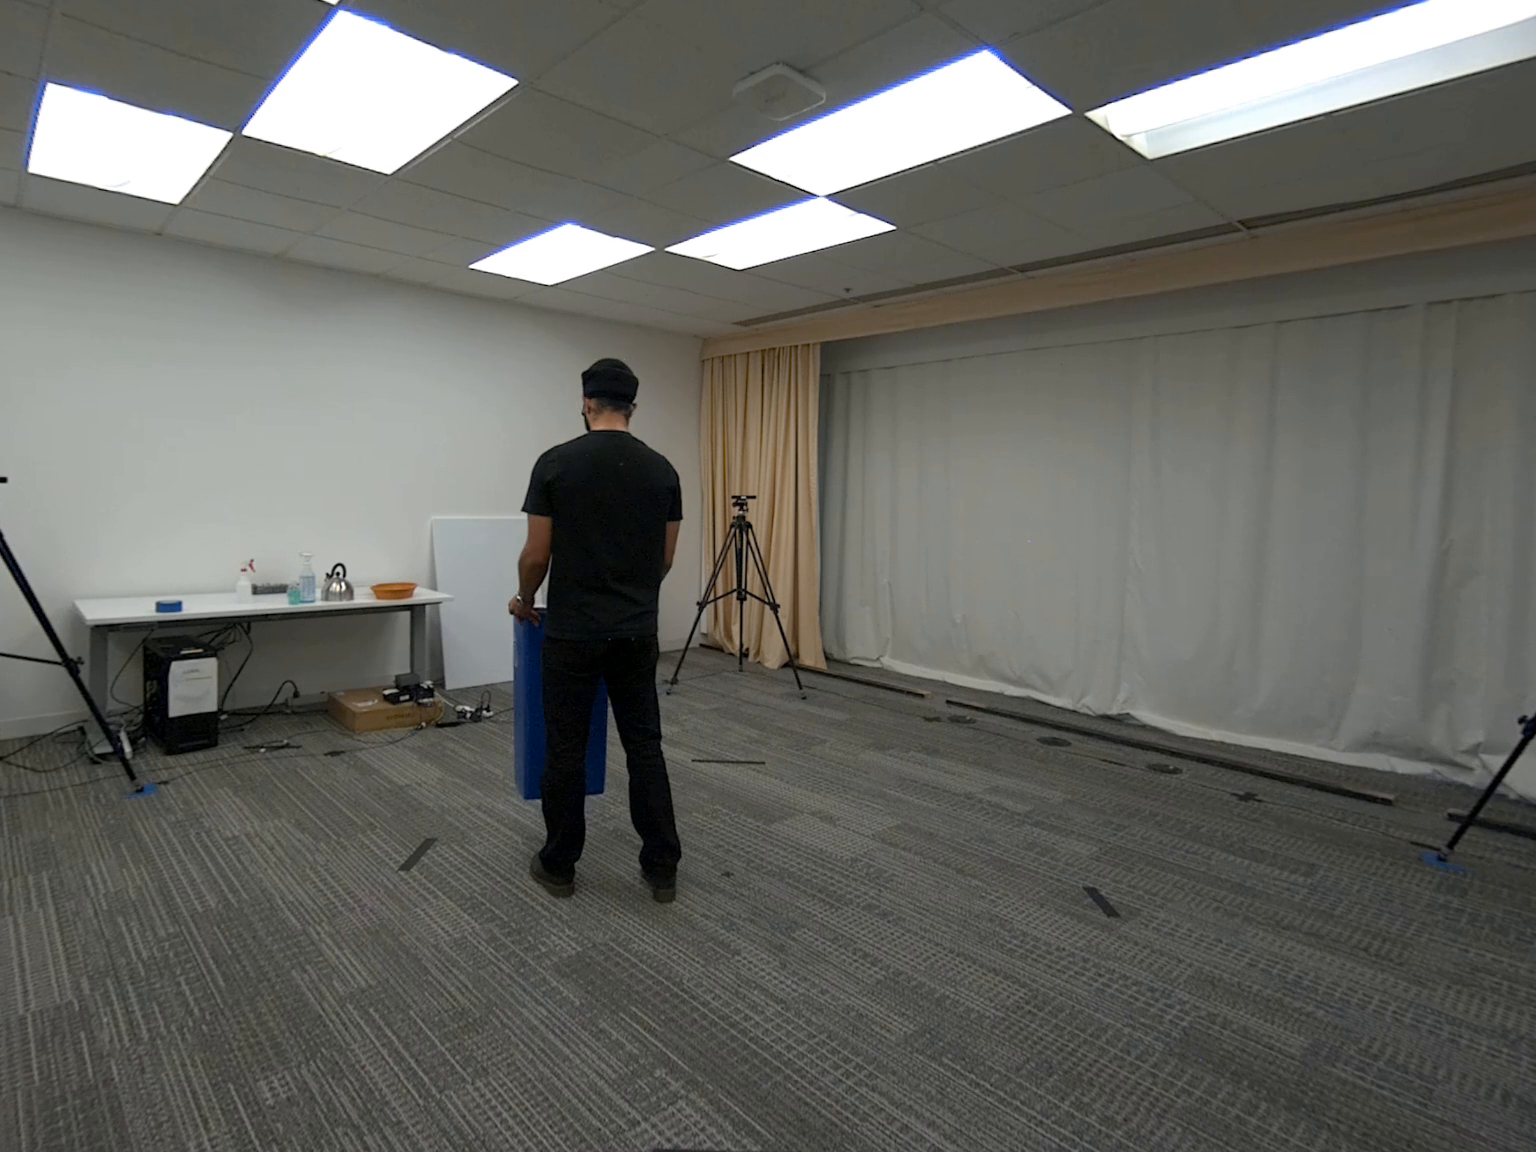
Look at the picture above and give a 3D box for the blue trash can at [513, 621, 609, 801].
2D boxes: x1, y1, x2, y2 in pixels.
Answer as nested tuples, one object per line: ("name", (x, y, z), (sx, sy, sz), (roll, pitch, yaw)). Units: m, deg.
("blue trash can", (-0.815, 0.480, 3.295), (0.371, 0.715, 0.379), (1, -4, -23))
